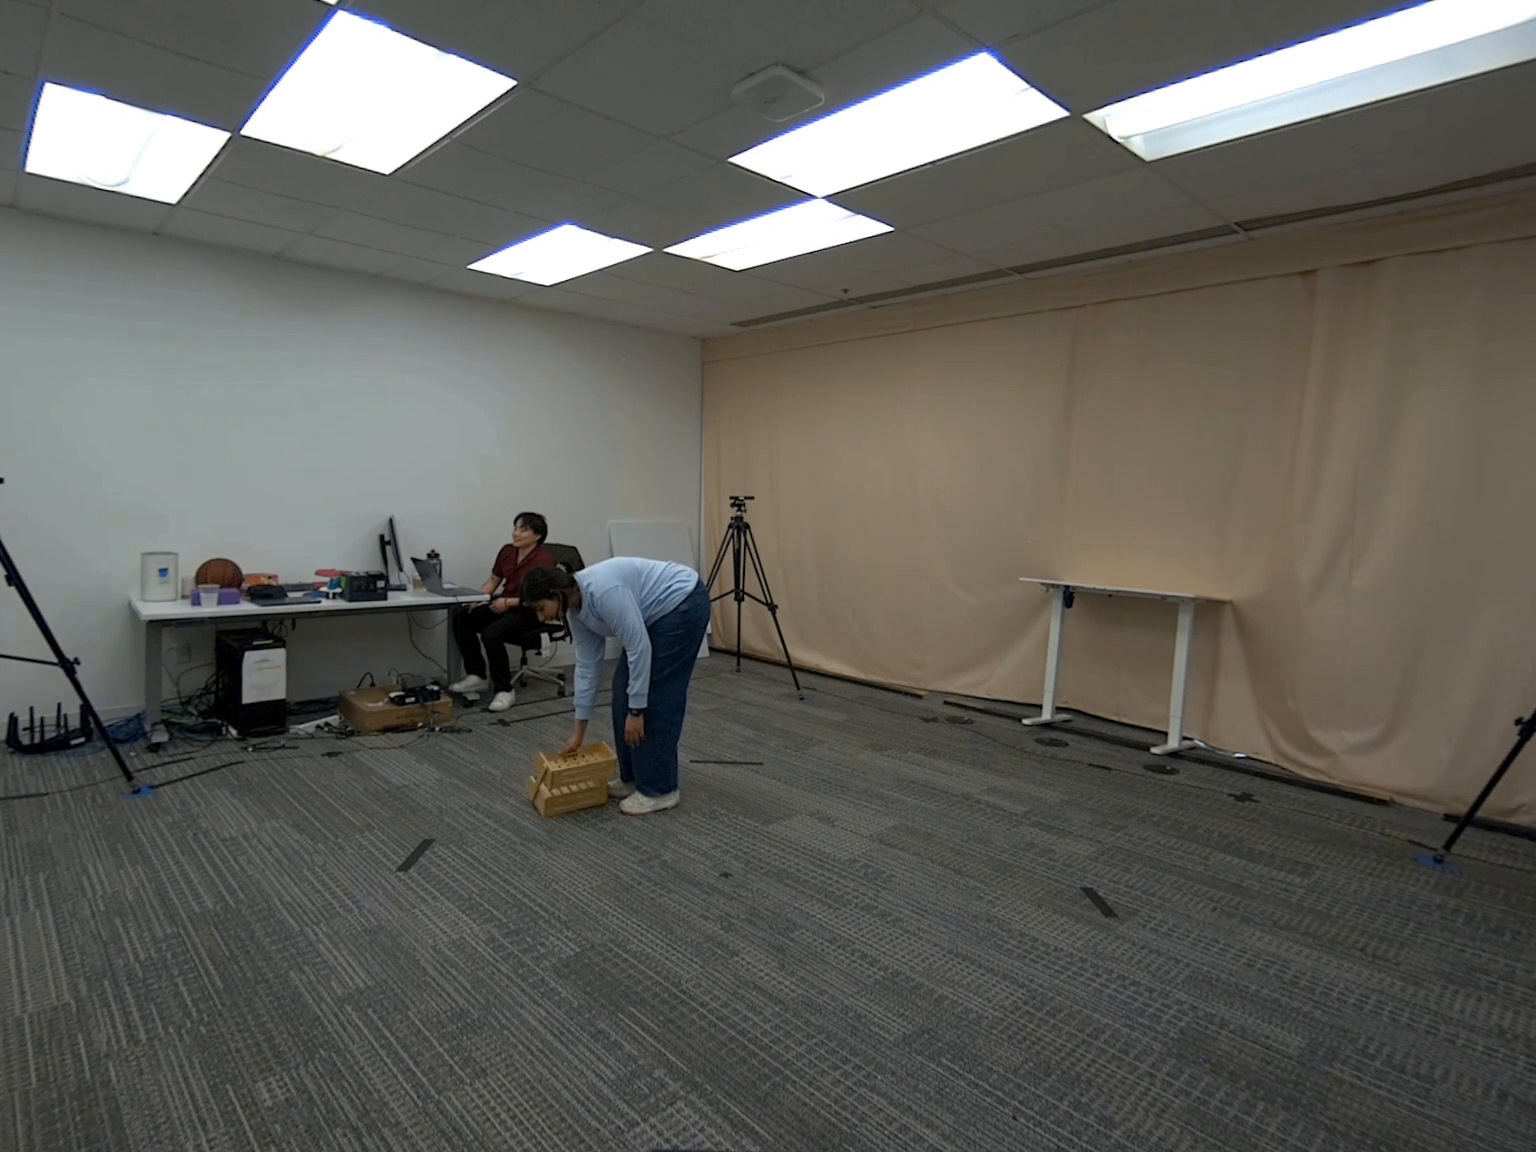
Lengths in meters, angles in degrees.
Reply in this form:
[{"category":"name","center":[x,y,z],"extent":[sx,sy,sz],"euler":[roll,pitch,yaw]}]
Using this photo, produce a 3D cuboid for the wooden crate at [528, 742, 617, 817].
[{"category":"wooden crate","center":[-0.895,0.869,3.749],"extent":[0.318,0.270,0.311],"euler":[-4,21,-34]}]
